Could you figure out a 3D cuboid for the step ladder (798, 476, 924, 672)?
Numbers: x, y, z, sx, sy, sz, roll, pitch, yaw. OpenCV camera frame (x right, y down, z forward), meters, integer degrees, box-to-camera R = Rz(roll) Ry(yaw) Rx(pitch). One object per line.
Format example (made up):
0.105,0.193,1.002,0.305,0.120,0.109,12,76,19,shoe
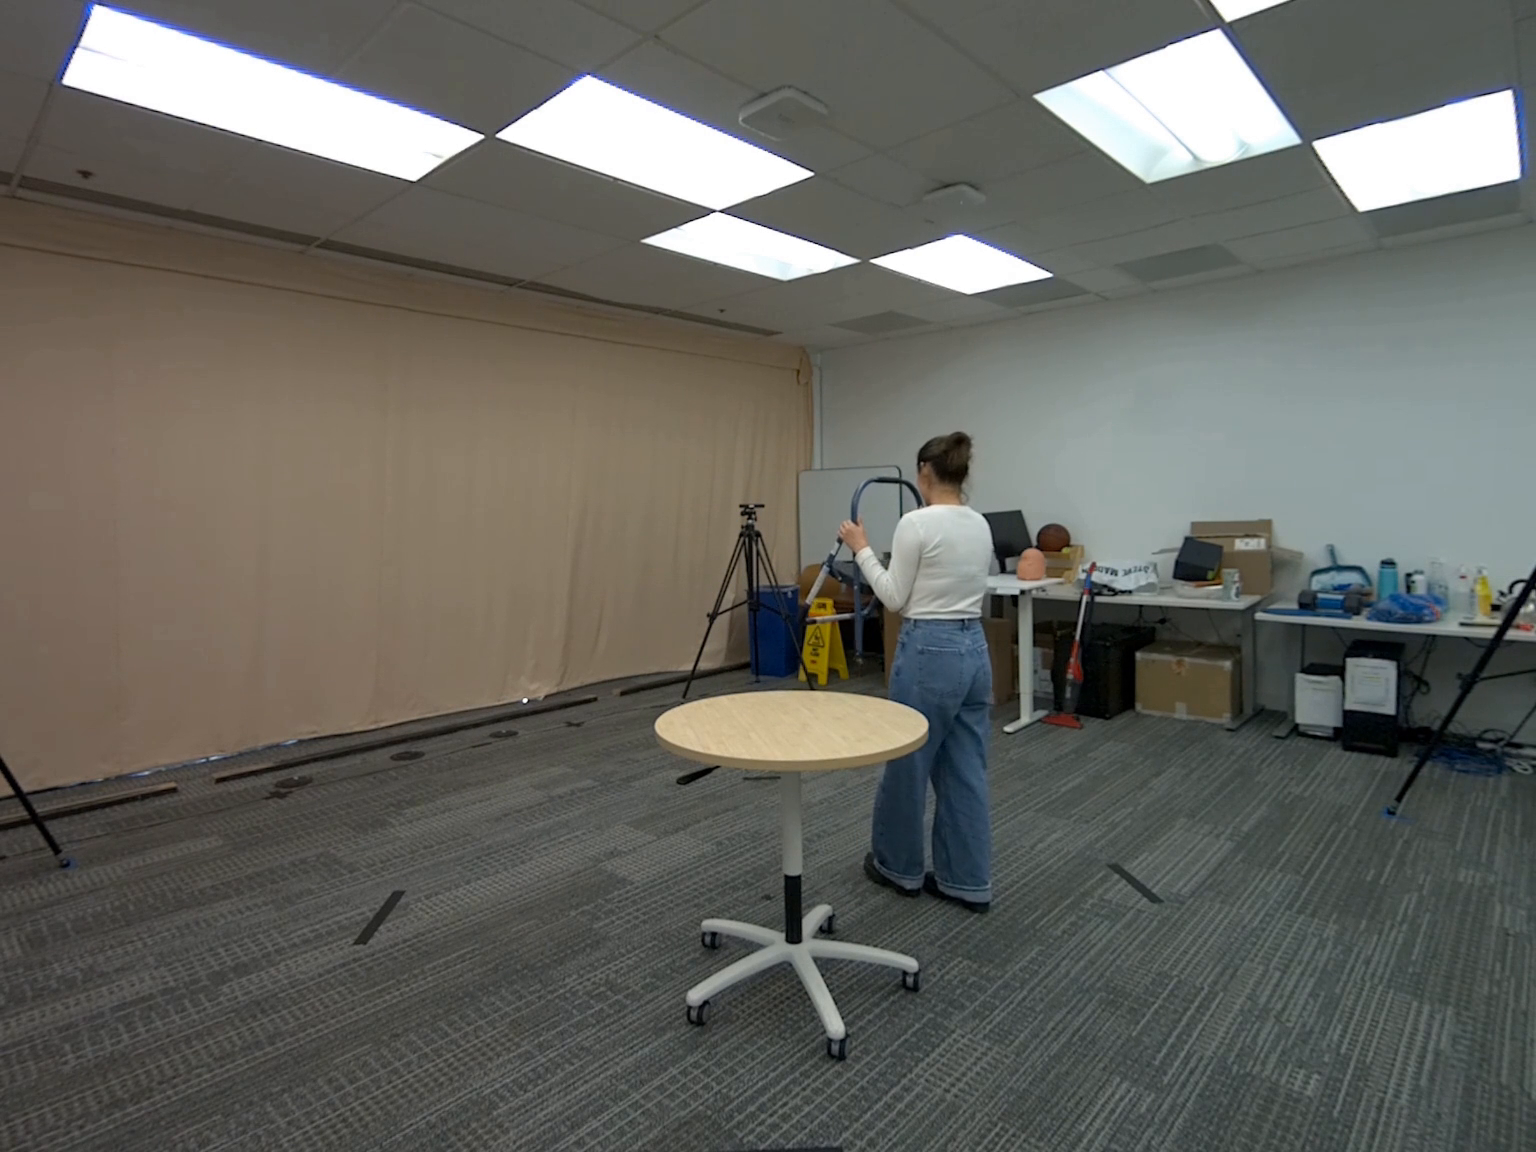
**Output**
0.423,-0.051,3.099,0.417,0.603,0.362,-1,20,-43,step ladder
